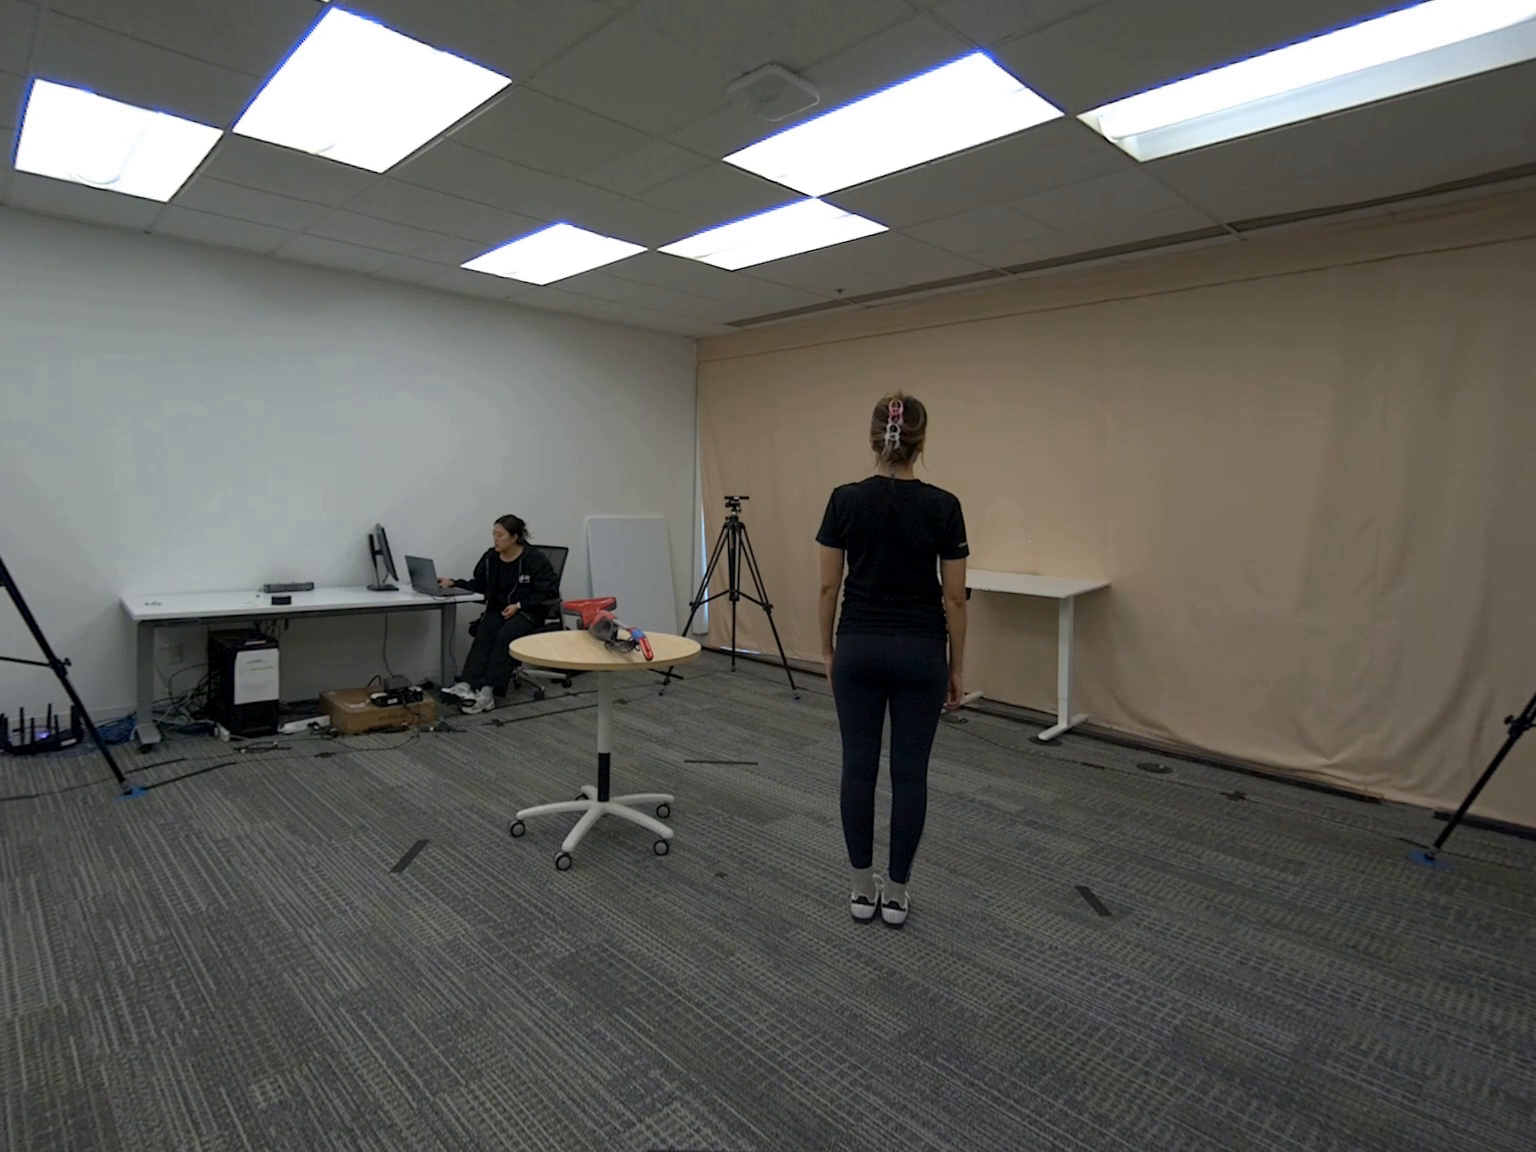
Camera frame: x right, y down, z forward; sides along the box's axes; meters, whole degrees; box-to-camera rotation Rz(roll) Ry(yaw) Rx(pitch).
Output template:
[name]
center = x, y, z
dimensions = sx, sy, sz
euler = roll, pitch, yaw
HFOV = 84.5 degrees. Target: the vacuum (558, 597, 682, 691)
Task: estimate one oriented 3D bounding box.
[vacuum]
center = -0.619, 0.237, 3.339
dimensions = 0.249, 0.143, 1.070
euler = -7, 9, -21
